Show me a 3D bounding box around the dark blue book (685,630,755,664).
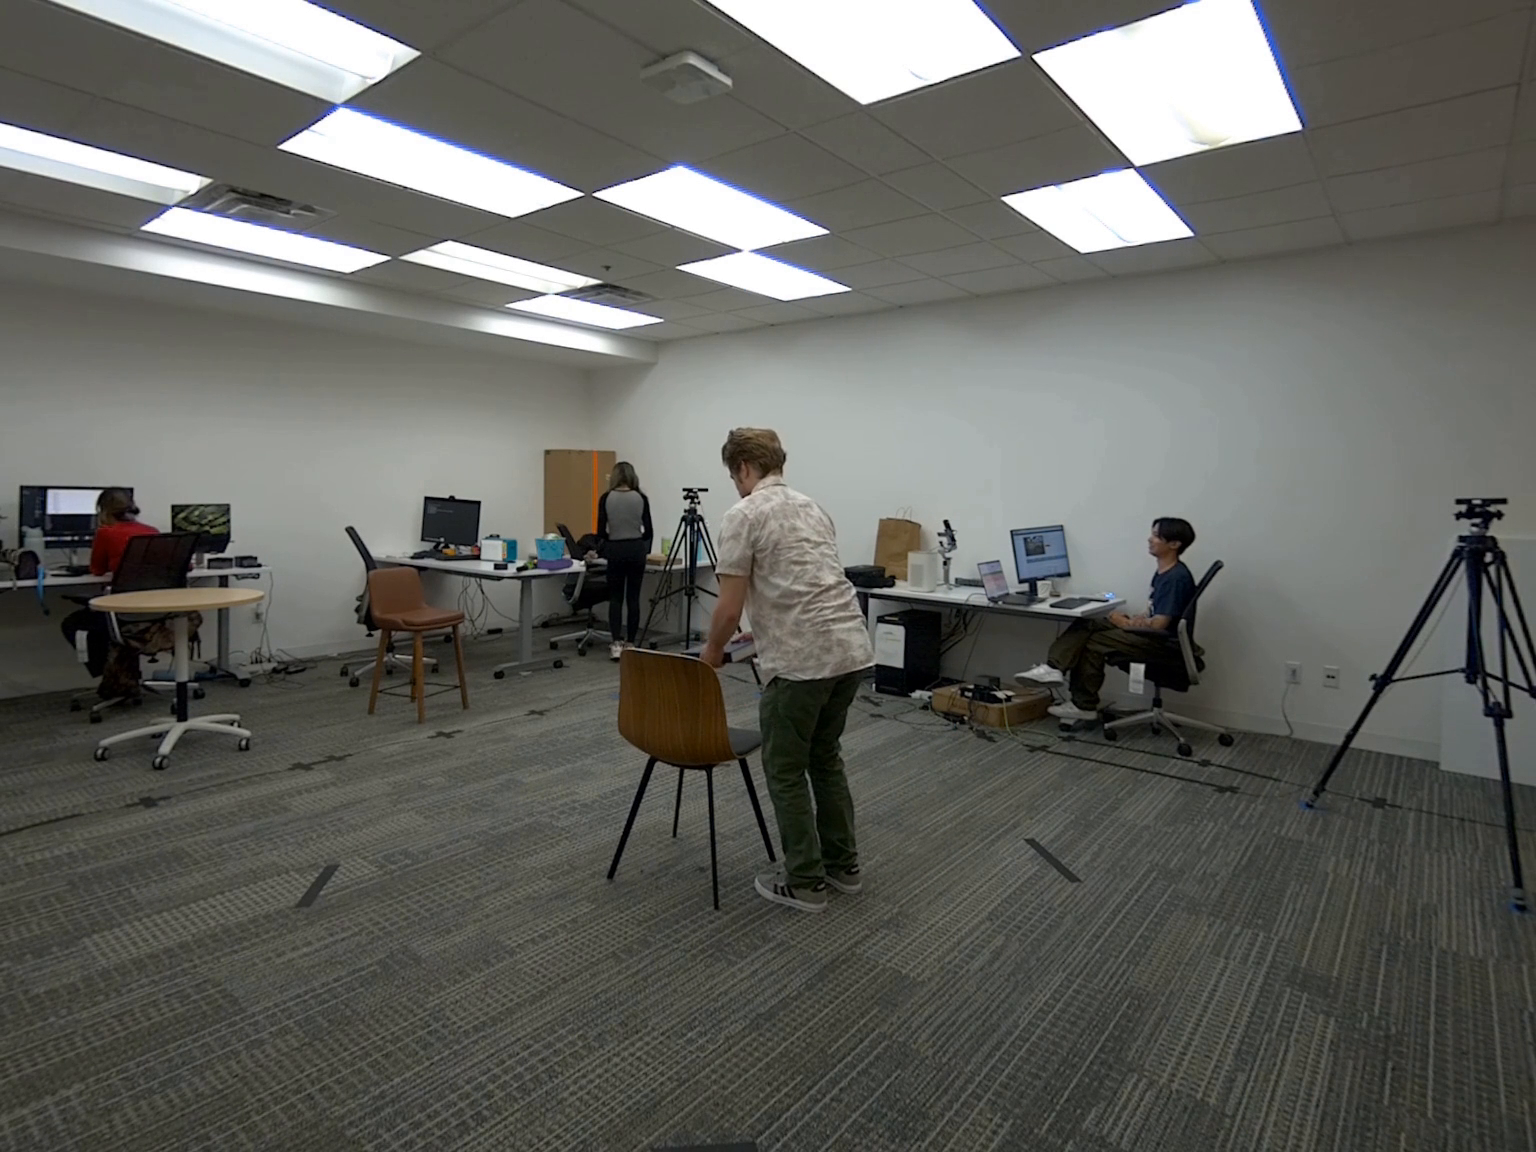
[{"bbox_3d":[-0.182,0.278,3.123,0.252,0.045,0.159,-6,7,39],"label":"dark blue book"}]
